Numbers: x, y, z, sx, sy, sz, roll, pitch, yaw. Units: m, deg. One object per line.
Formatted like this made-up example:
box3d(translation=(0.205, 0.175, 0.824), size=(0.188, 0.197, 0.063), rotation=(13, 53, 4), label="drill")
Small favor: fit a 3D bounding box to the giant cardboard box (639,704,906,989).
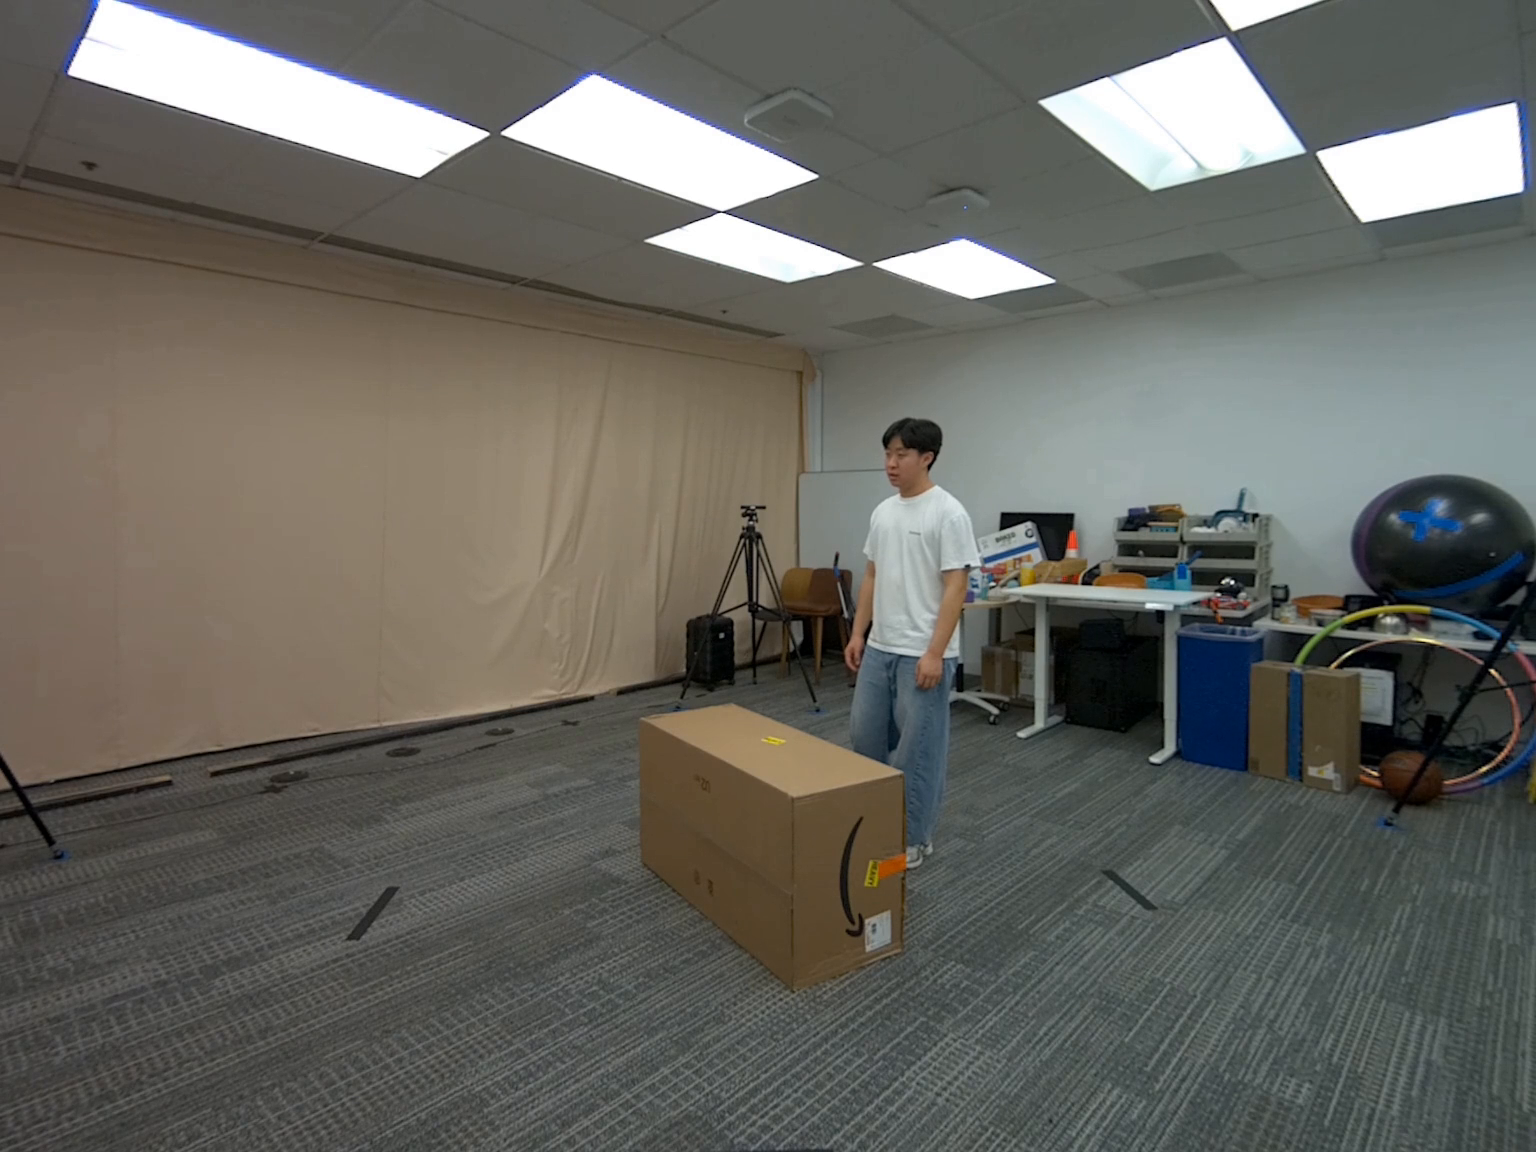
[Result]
box3d(translation=(-0.033, 0.858, 2.936), size=(0.414, 0.576, 1.057), rotation=(-3, 5, -32), label="giant cardboard box")
